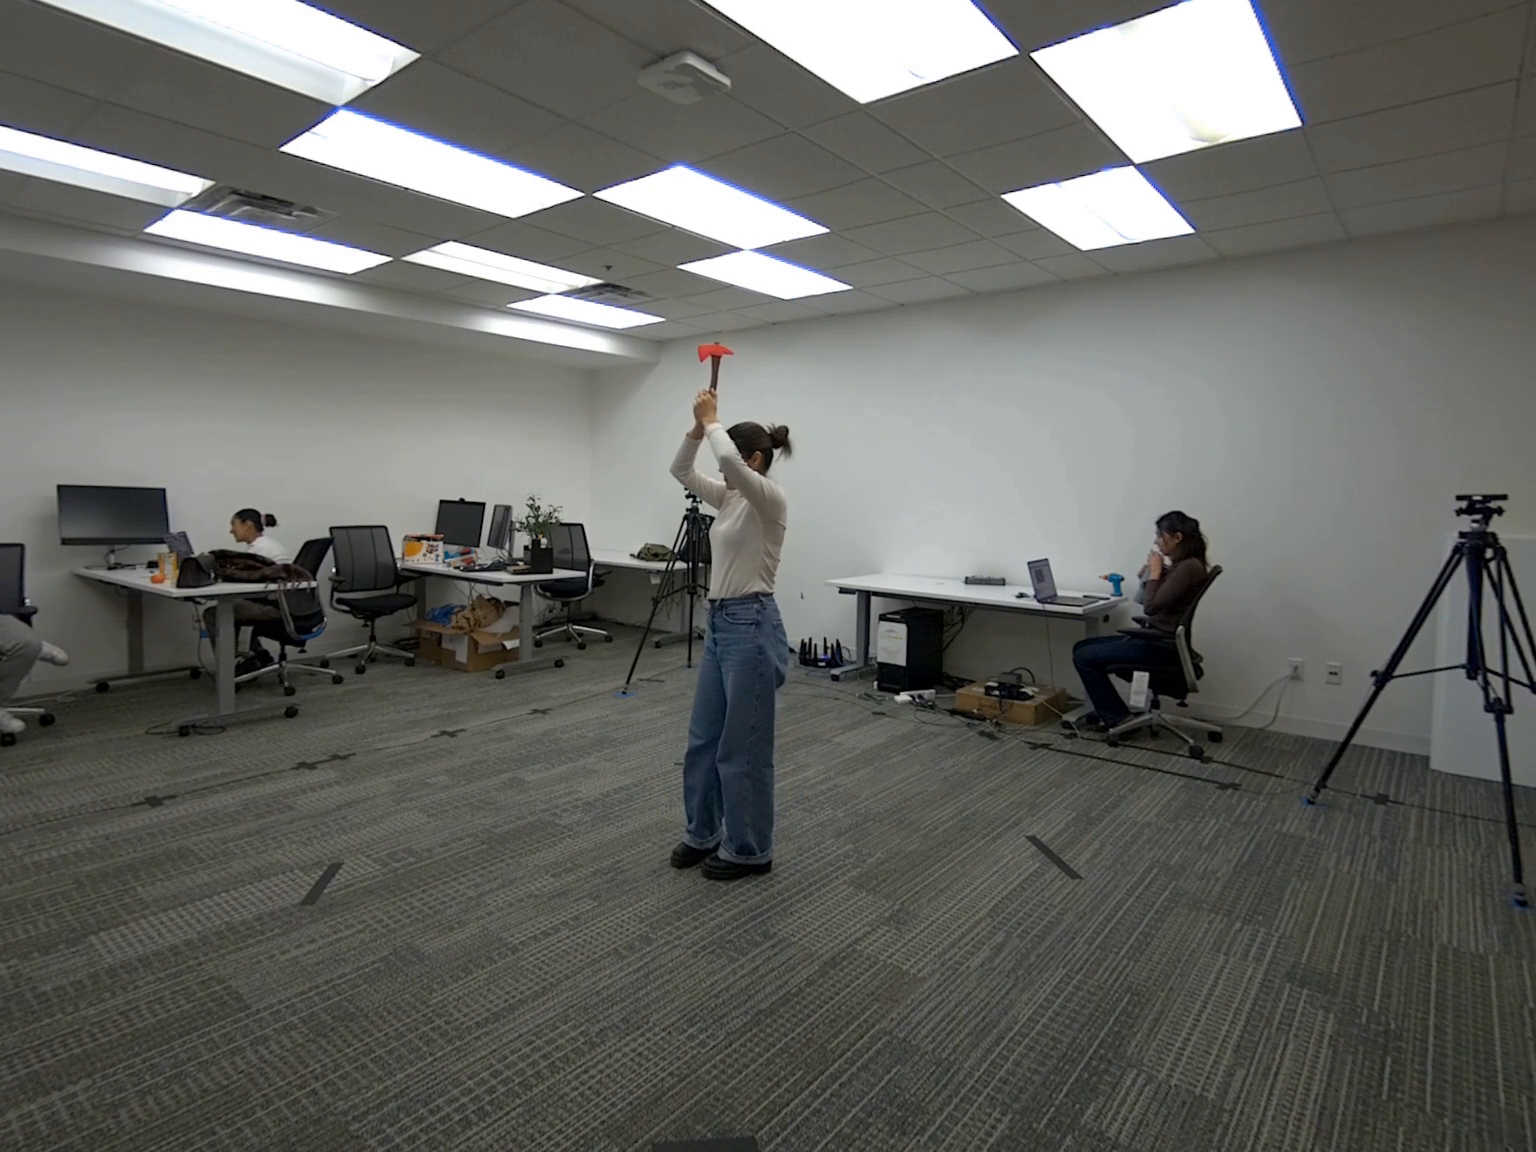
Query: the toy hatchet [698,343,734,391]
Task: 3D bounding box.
[{"bbox_3d":[-0.234,-0.714,3.016,0.128,0.271,0.030,25,-9,-15],"label":"toy hatchet"}]
